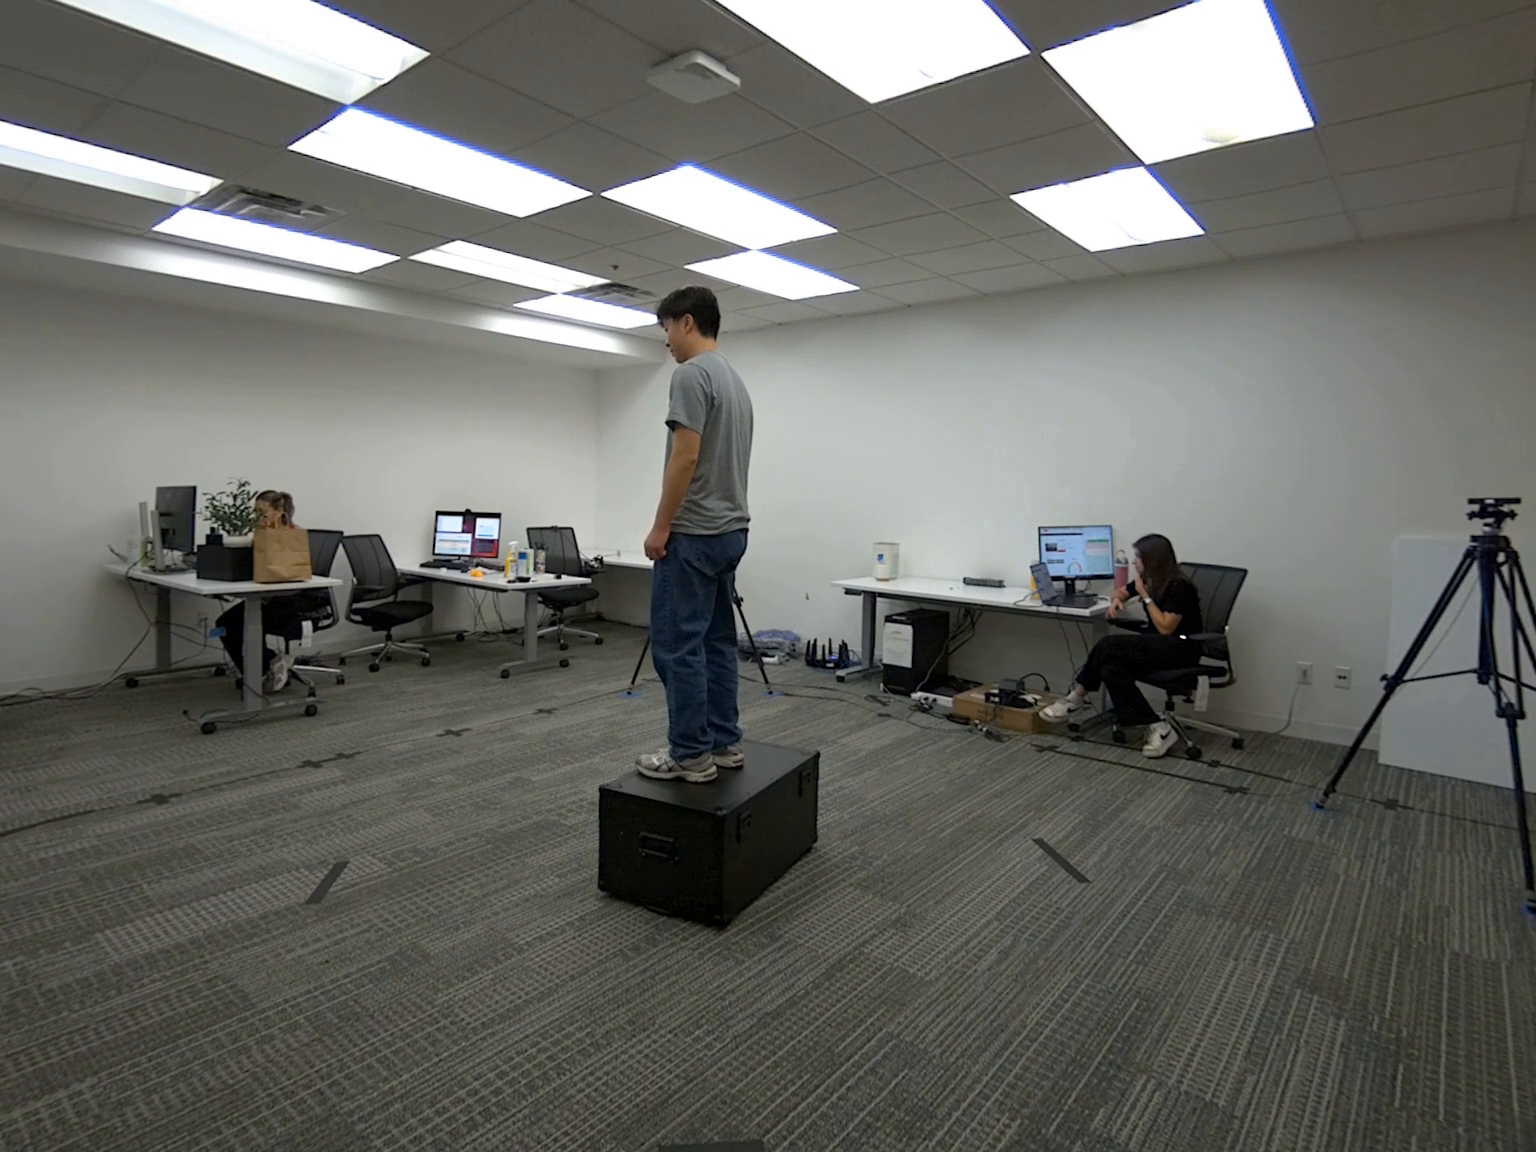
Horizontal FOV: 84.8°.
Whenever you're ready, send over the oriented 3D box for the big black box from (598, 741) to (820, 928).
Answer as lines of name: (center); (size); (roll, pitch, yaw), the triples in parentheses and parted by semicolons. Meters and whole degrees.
big black box: (-0.180, 0.875, 3.116); (0.535, 0.395, 0.841); (3, 6, 27)
